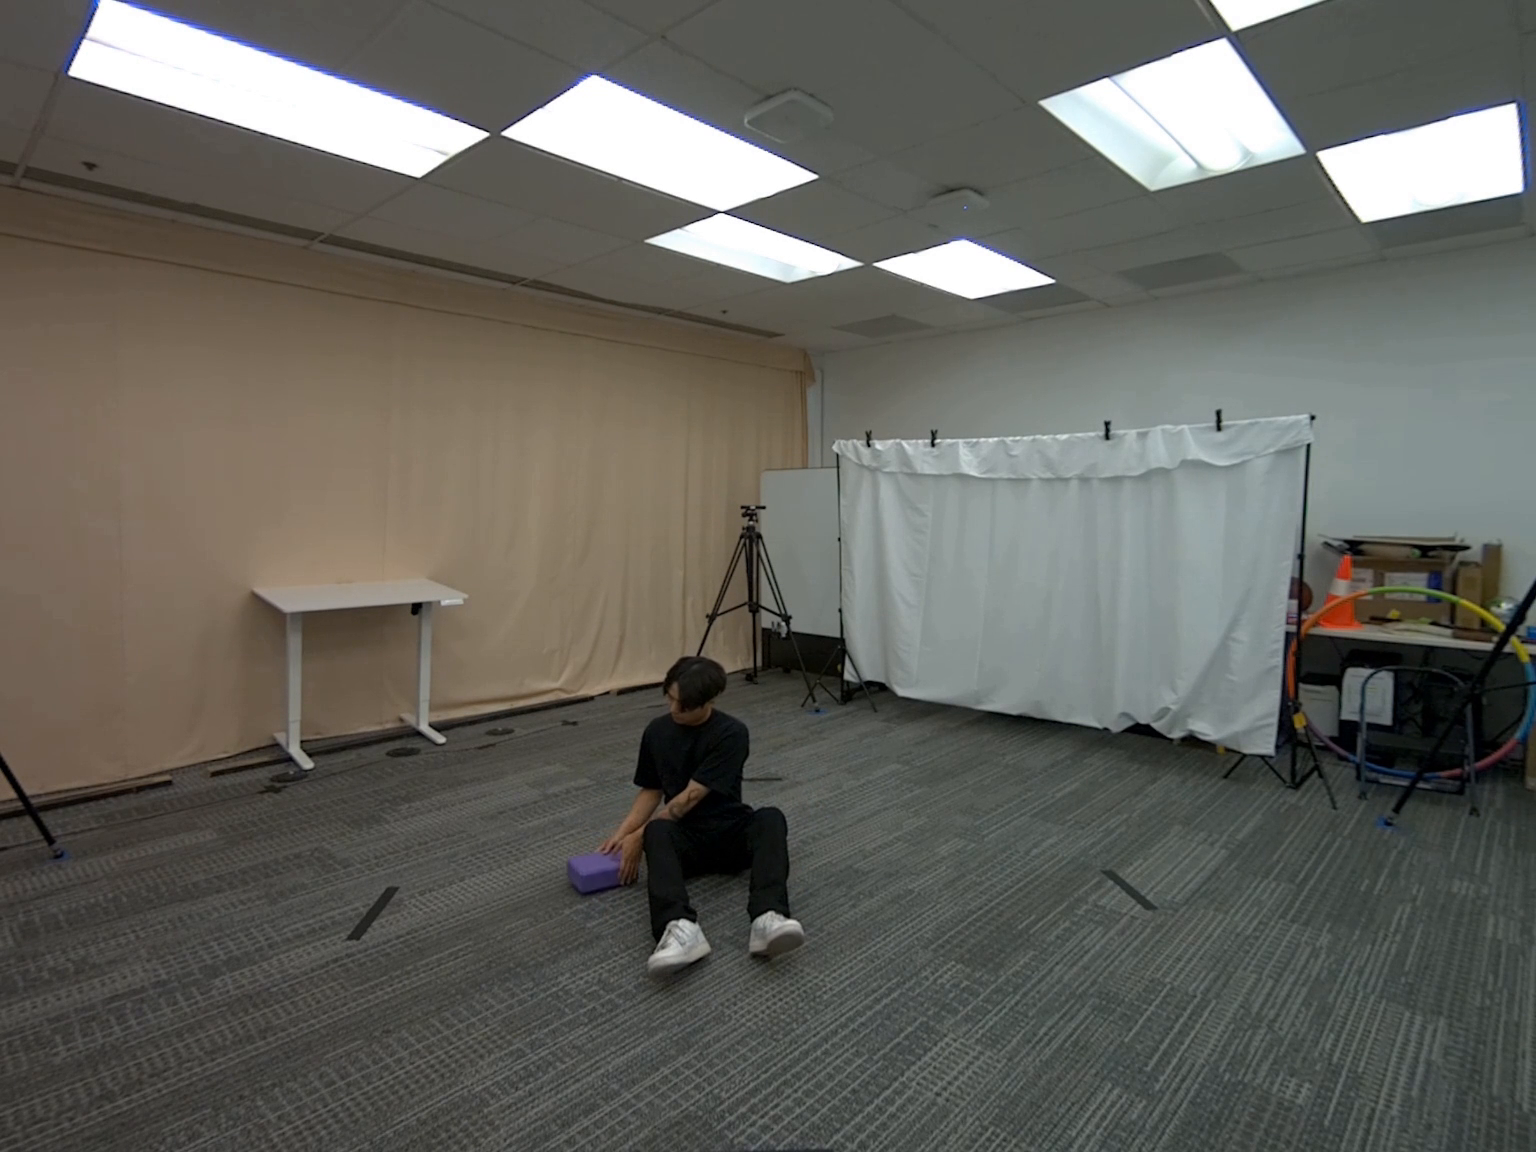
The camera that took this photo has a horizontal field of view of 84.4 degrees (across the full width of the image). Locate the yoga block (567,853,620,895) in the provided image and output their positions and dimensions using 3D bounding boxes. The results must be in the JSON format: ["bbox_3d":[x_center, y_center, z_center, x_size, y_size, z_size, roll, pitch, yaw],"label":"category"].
[{"bbox_3d":[-0.616,1.081,3.108,0.222,0.076,0.154,1,5,-34],"label":"yoga block"}]
